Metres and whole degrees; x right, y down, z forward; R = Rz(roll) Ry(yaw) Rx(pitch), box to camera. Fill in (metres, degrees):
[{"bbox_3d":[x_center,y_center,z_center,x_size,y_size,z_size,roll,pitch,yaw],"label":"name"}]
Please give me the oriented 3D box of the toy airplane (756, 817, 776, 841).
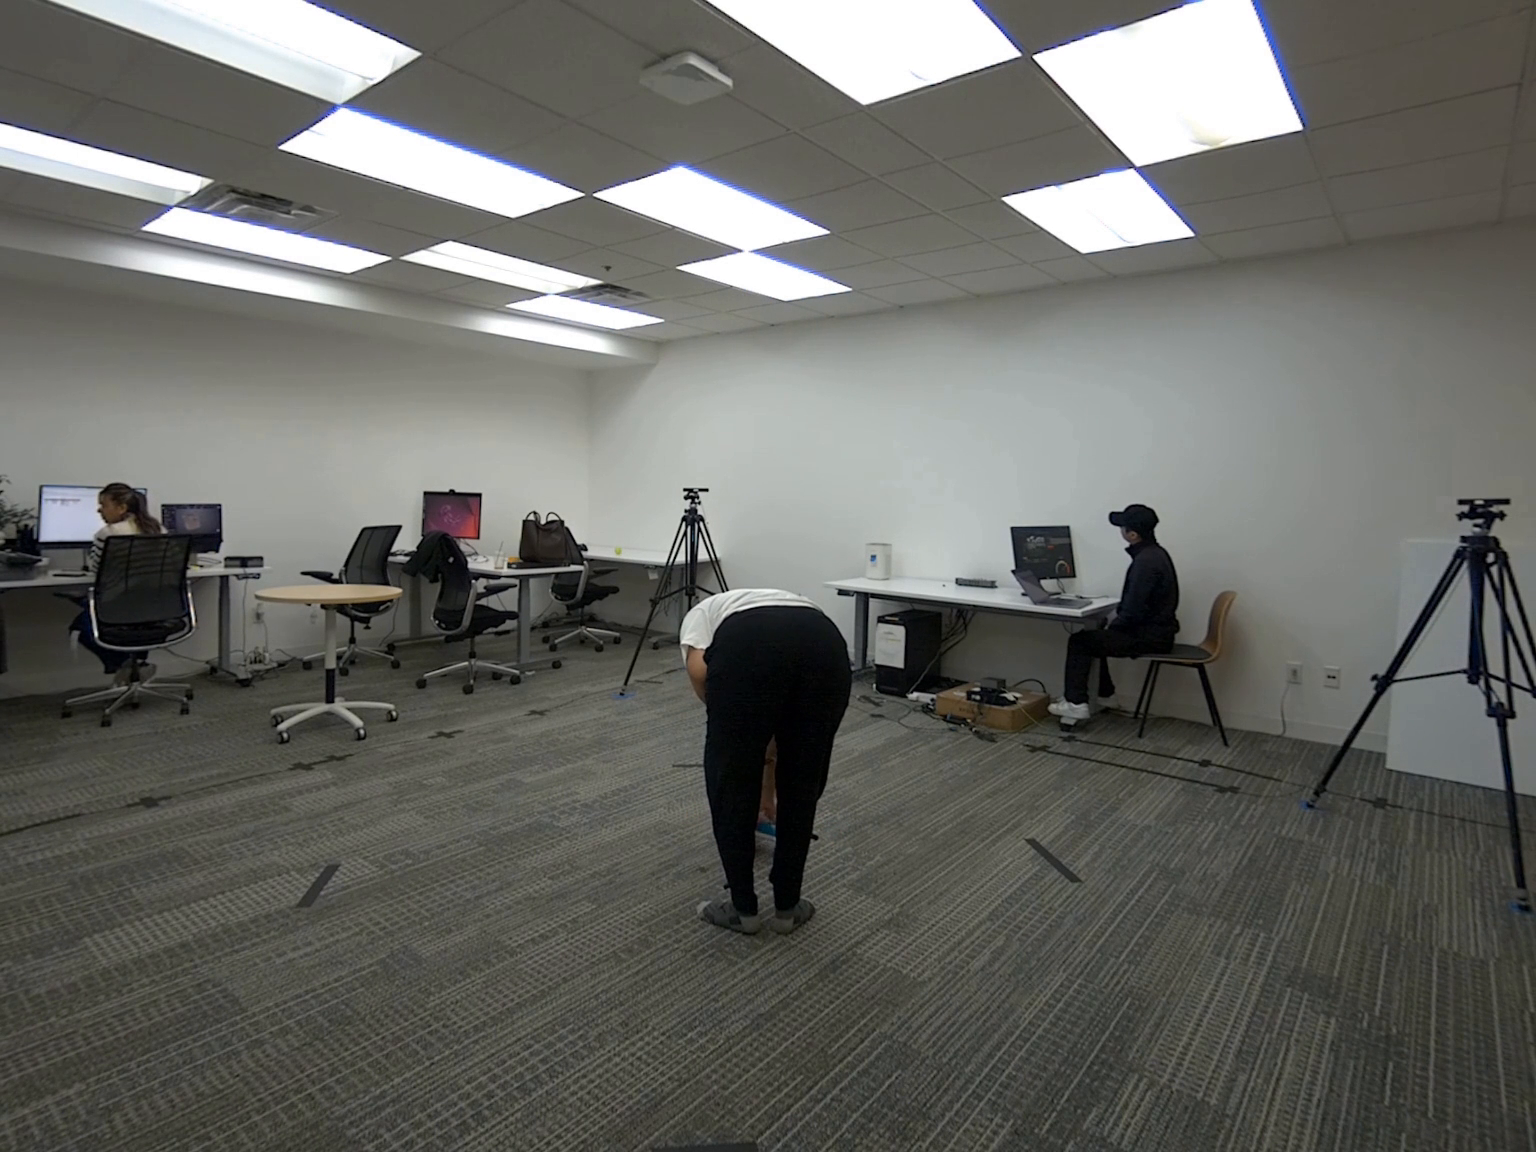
[{"bbox_3d":[-0.043,0.975,3.308,0.256,0.156,0.255,-1,4,-13],"label":"toy airplane"}]
